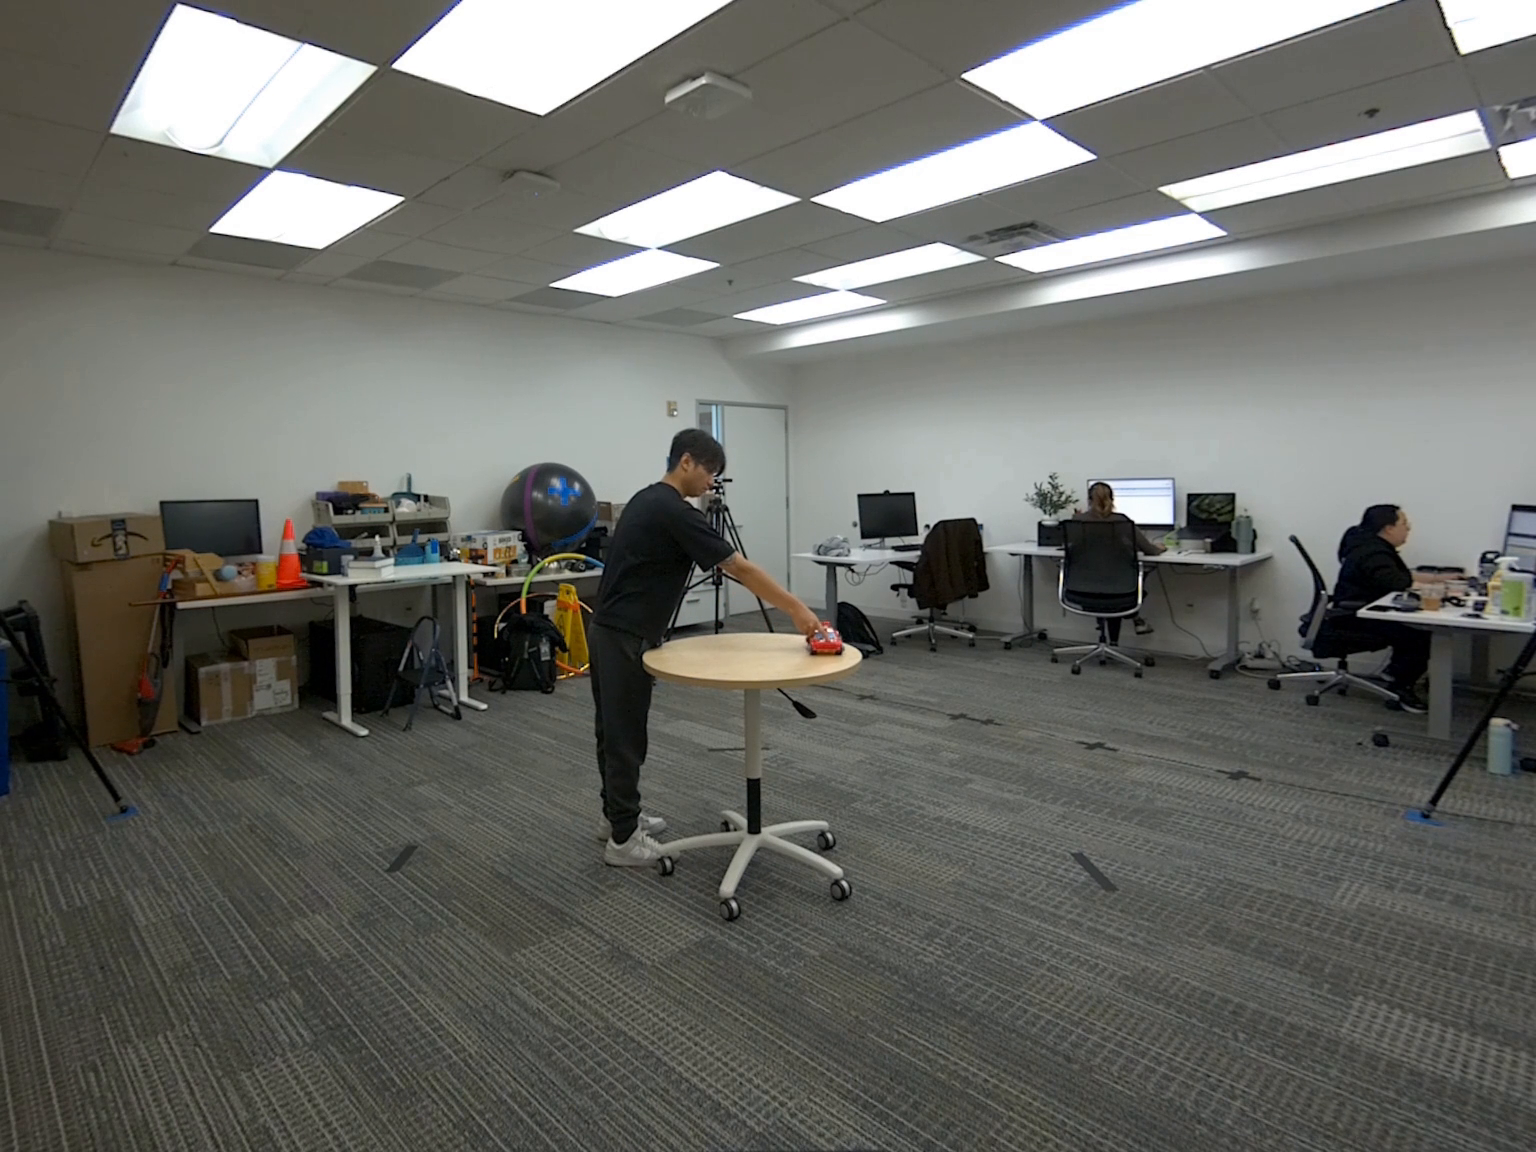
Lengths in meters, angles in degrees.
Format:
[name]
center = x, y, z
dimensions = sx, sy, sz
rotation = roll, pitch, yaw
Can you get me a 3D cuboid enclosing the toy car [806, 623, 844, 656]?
[toy car]
center = 0.198, 0.228, 3.068
dimensions = 0.131, 0.082, 0.258
rotation = 0, 19, 2
